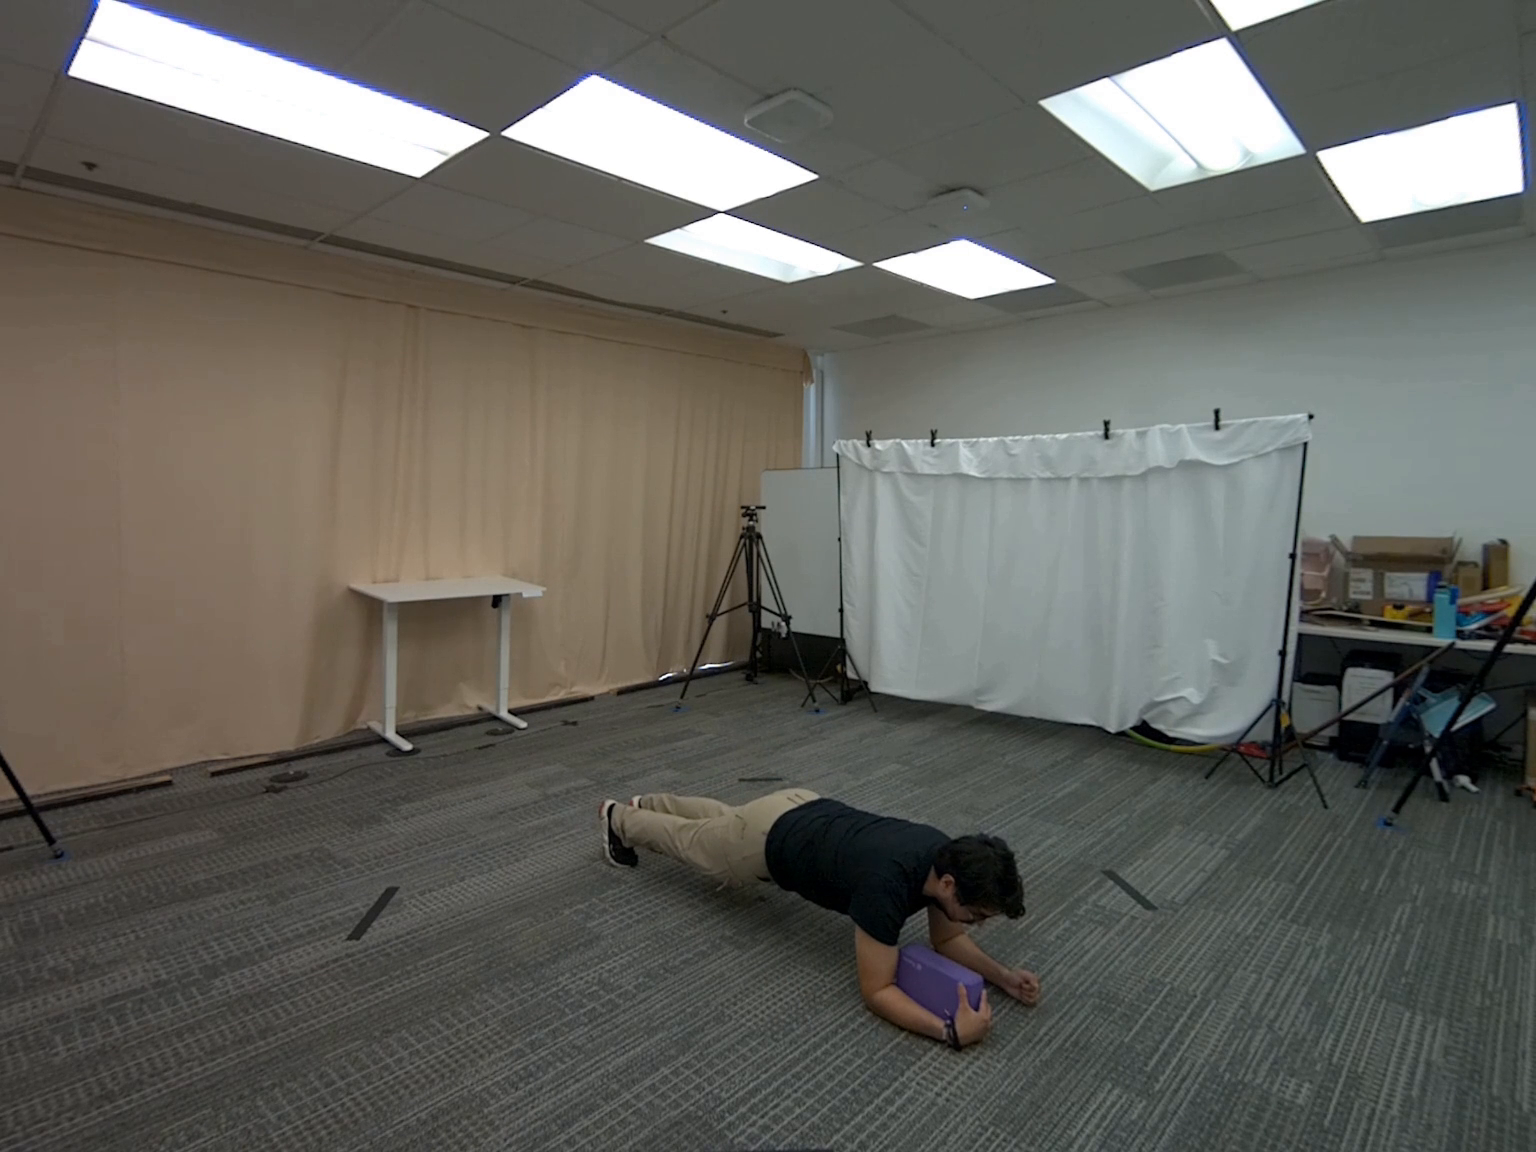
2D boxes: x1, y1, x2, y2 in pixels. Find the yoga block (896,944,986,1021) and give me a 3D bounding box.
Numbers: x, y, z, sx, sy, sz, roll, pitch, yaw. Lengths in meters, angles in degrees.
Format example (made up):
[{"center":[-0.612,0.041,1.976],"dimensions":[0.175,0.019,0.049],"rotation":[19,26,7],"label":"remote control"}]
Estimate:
[{"center":[0.464,1.124,2.282],"dimensions":[0.074,0.149,0.237],"rotation":[2,4,-41],"label":"yoga block"}]
